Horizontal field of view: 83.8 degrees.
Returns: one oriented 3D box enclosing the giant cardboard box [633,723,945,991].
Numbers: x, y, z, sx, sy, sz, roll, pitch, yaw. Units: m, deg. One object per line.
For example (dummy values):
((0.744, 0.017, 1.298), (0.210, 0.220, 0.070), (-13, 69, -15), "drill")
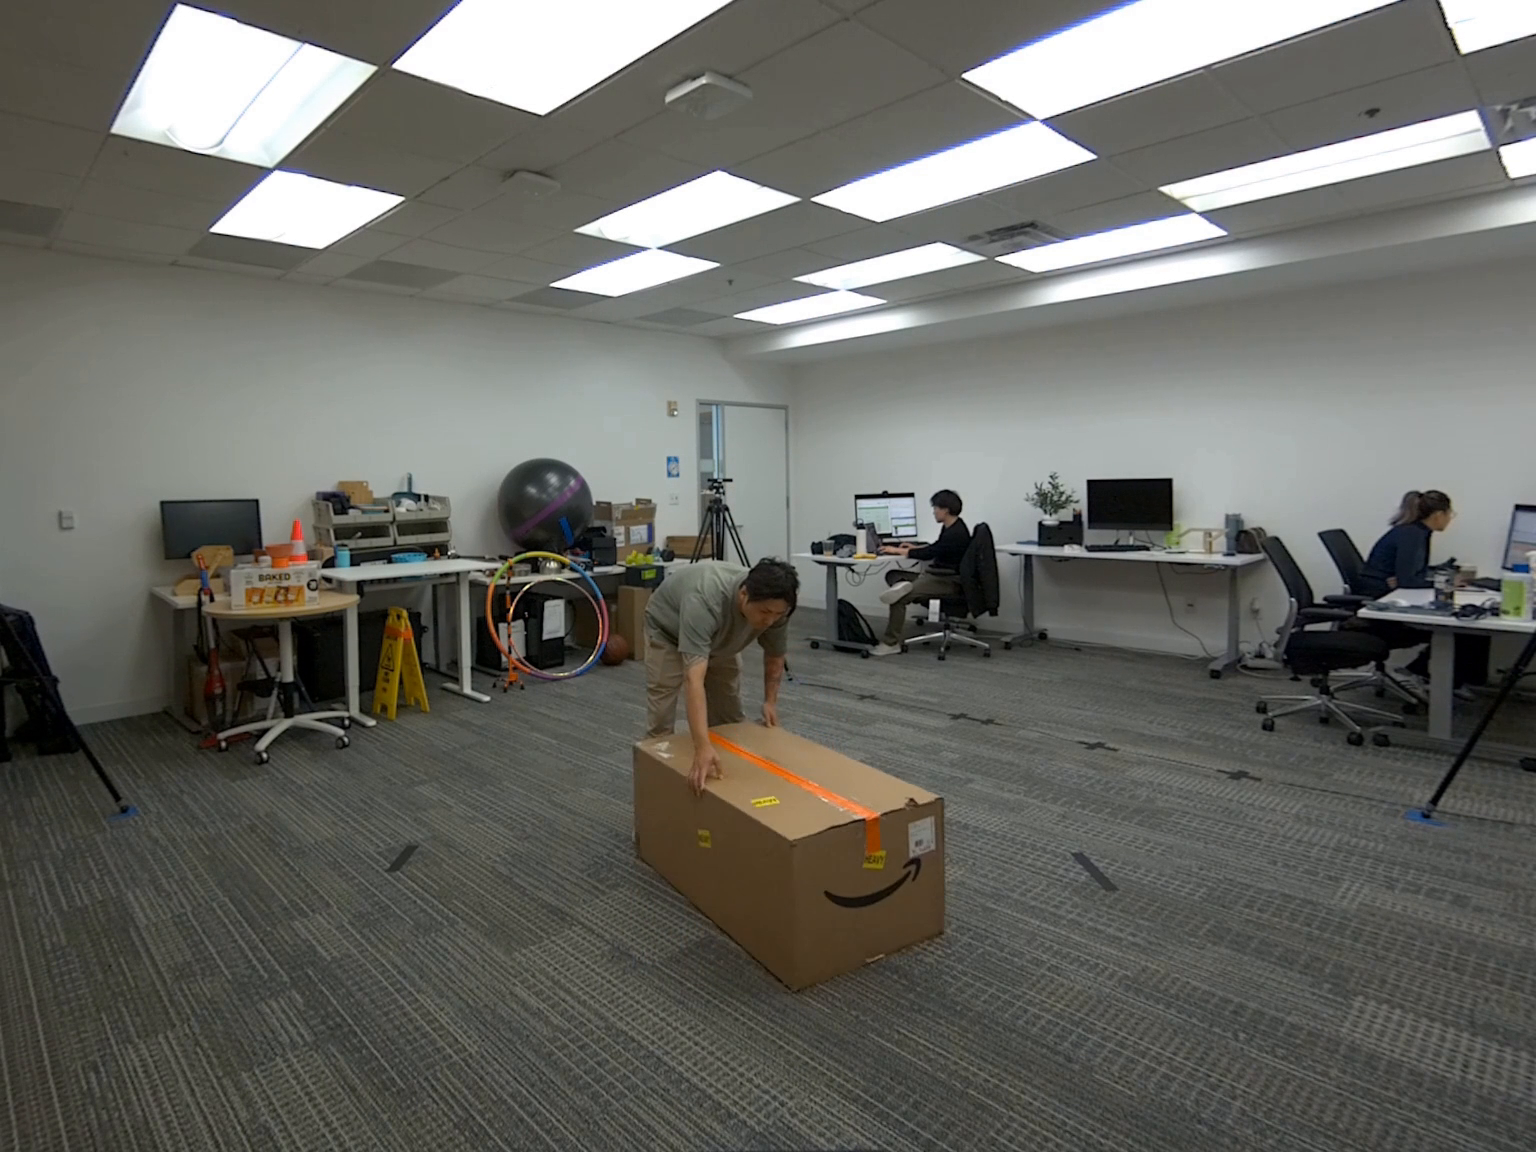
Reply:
((0.025, 0.854, 2.882), (0.563, 0.424, 1.055), (-4, 6, -32), "giant cardboard box")
